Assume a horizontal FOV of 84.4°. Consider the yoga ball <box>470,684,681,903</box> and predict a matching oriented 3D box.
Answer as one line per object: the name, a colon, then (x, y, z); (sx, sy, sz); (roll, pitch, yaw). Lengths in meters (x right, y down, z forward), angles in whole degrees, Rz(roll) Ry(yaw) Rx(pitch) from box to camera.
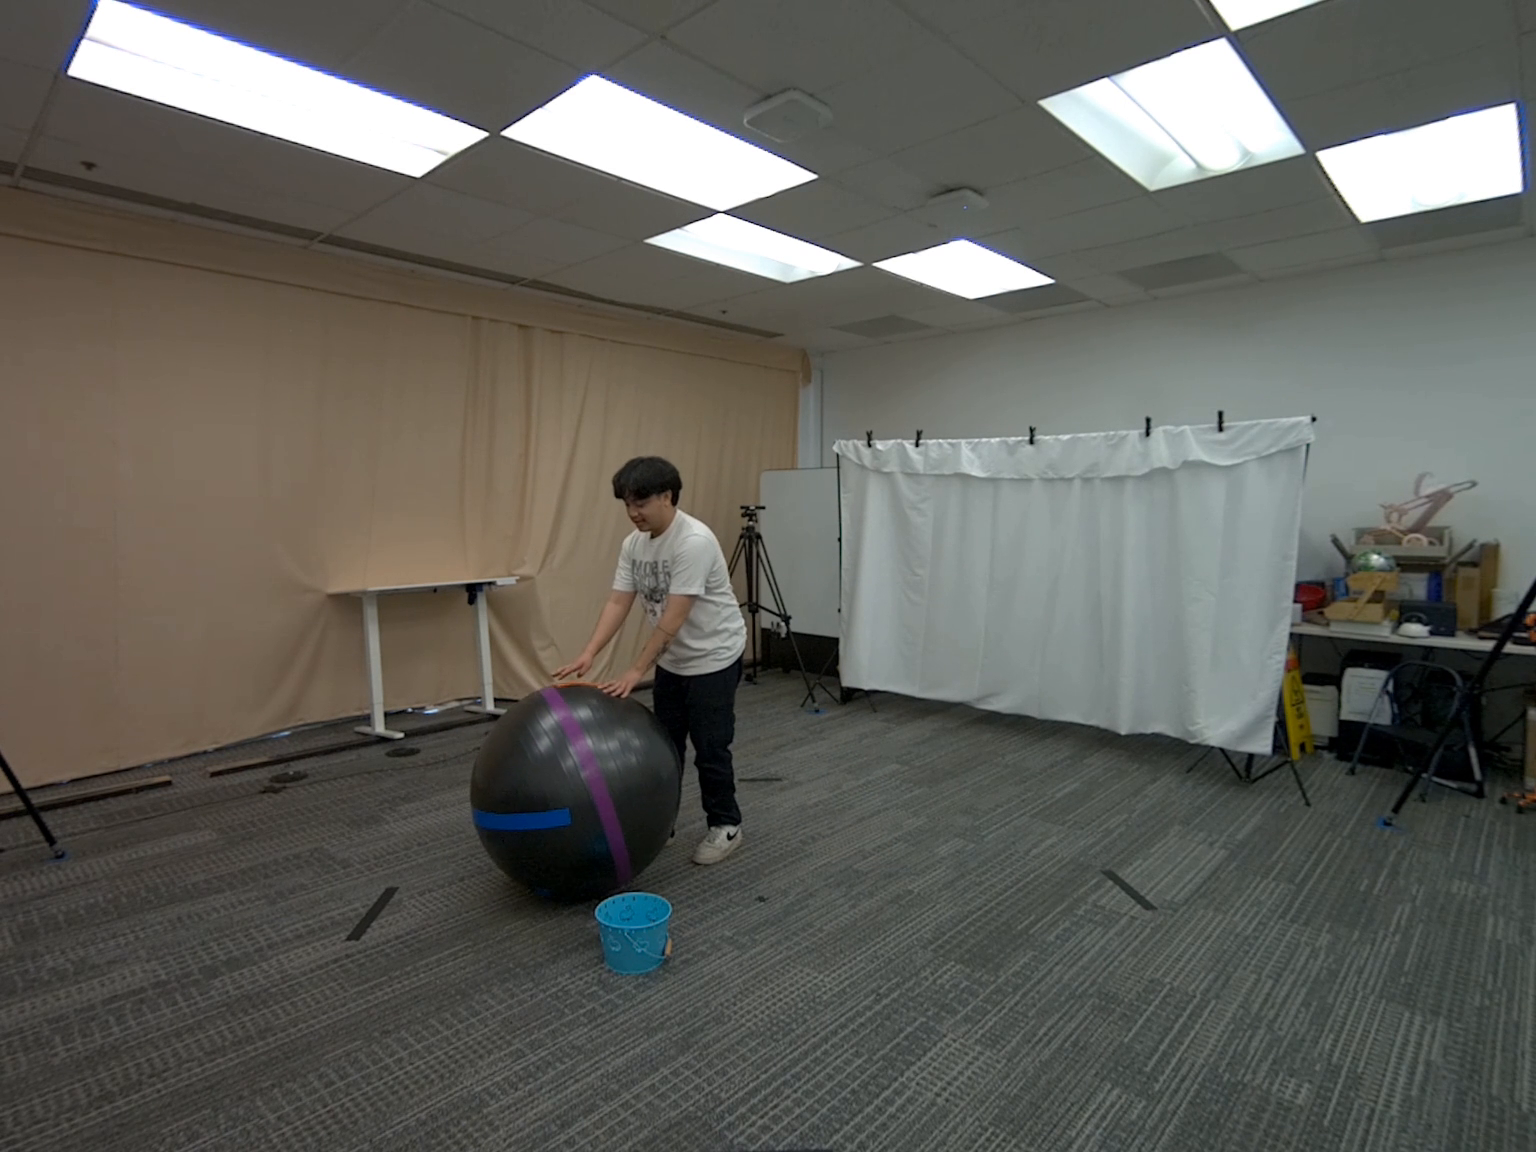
yoga ball: (-0.714, 0.783, 3.084); (0.757, 0.756, 0.760); (0, 4, -2)
